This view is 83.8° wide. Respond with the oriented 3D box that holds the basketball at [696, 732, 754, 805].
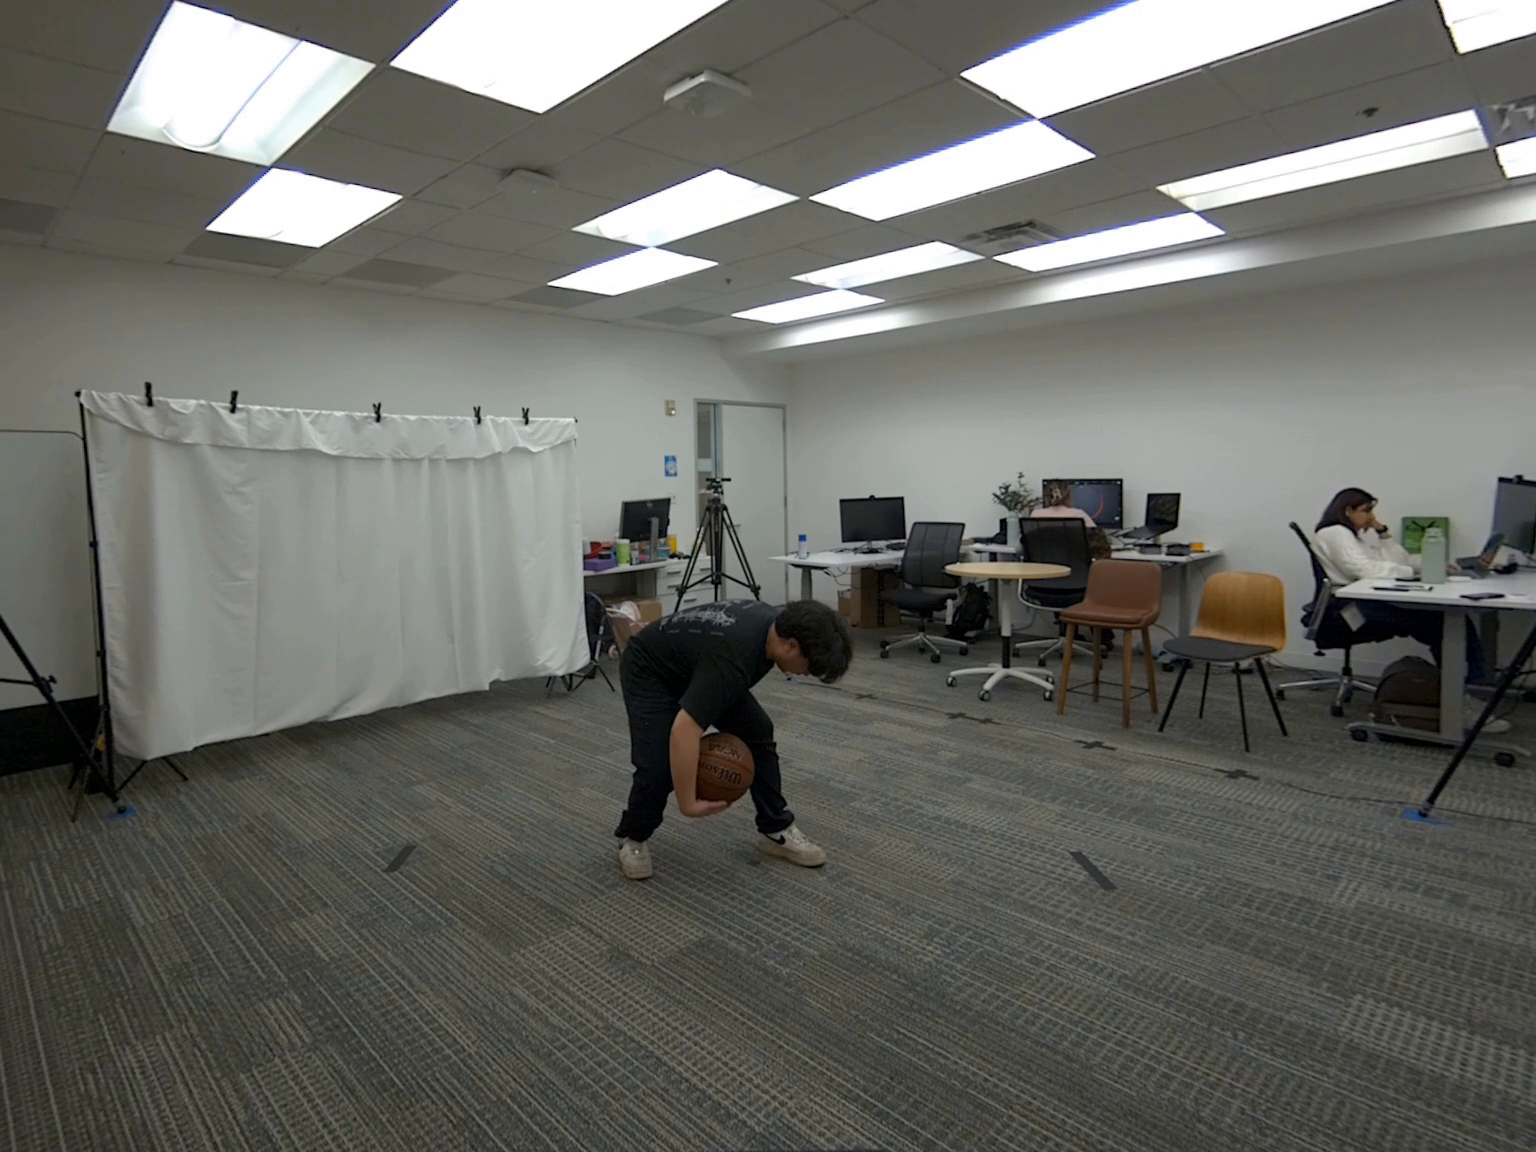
[{"bbox_3d":[-0.169,0.654,2.885,0.236,0.235,0.237,-1,5,-2],"label":"basketball"}]
